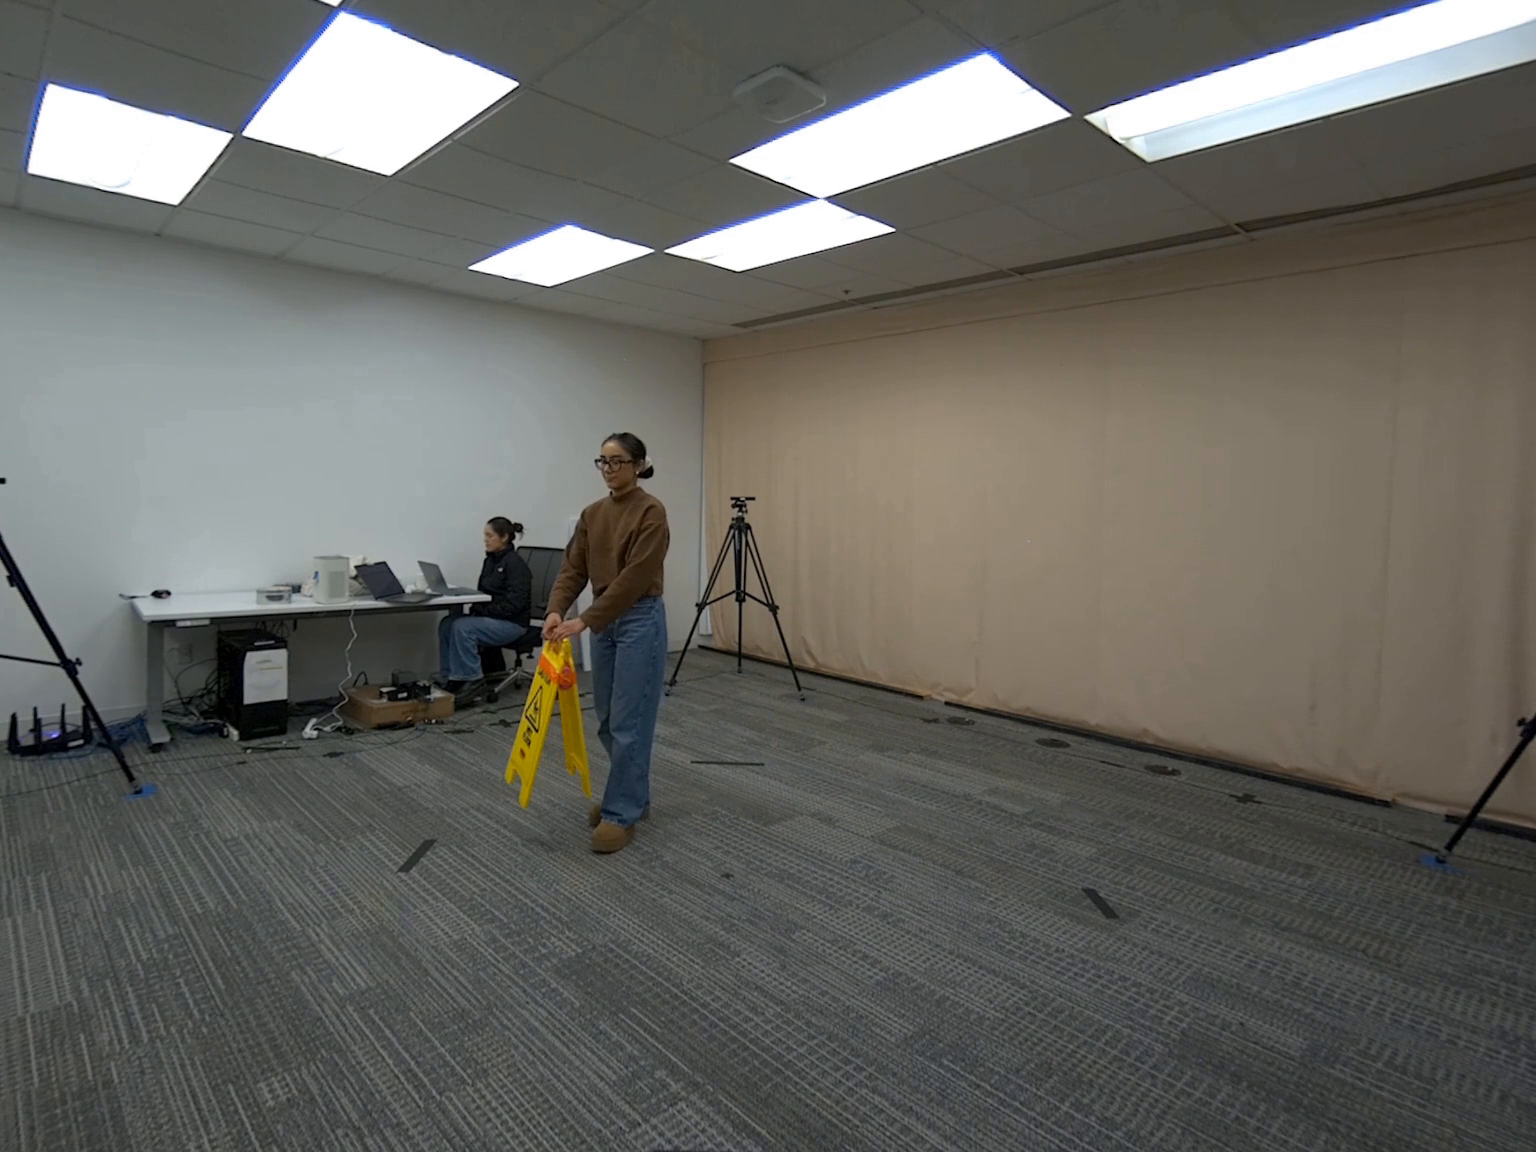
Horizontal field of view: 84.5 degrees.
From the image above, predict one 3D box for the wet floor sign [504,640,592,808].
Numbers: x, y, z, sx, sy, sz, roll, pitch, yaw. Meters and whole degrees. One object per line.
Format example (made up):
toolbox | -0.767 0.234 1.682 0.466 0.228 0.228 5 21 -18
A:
wet floor sign | -0.846 0.532 3.279 0.284 0.642 0.290 0 12 -31
